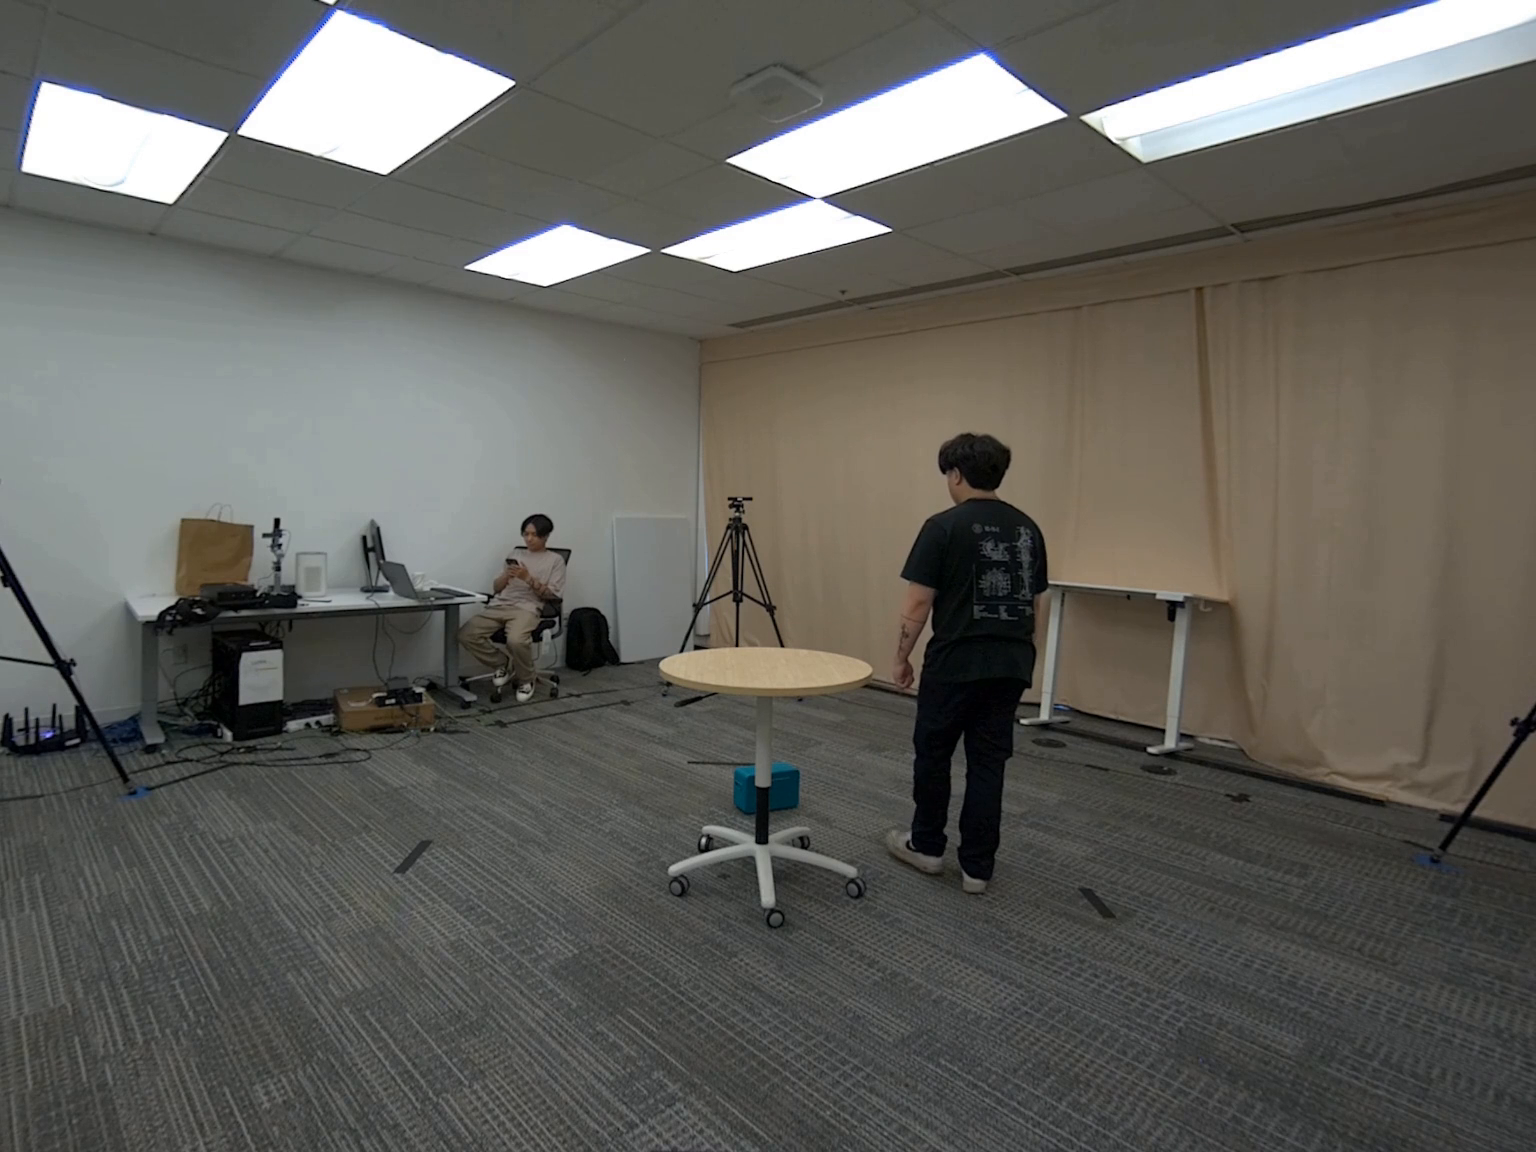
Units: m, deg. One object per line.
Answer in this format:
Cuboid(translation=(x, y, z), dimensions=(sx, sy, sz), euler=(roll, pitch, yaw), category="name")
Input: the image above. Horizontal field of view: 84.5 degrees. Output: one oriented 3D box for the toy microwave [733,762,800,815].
Cuboid(translation=(-0.016, 0.956, 3.825), dimensions=(0.281, 0.184, 0.155), euler=(0, 4, -26), category="toy microwave")
